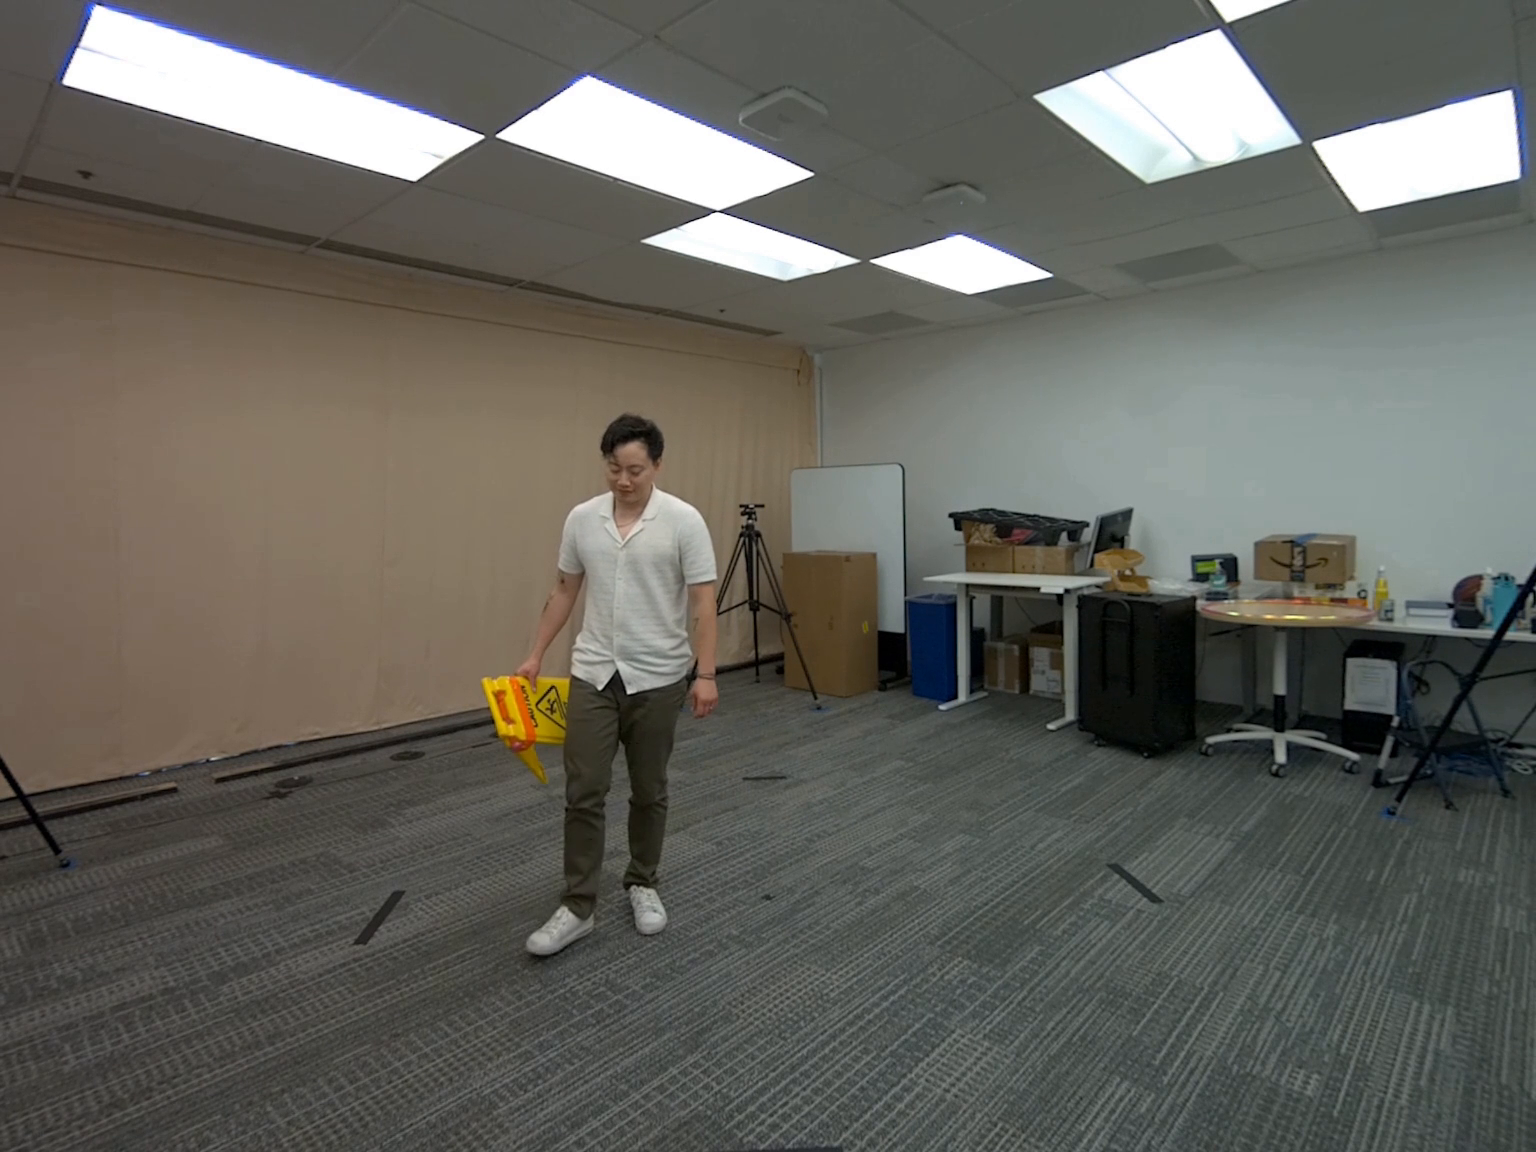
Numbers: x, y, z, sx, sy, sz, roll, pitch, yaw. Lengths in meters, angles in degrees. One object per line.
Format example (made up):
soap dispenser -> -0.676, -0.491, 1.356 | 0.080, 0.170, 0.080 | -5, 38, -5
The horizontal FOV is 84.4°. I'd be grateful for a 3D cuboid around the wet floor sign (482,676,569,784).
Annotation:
wet floor sign -> -0.798, 0.496, 2.876 | 0.290, 0.288, 0.632 | -26, -20, 1
